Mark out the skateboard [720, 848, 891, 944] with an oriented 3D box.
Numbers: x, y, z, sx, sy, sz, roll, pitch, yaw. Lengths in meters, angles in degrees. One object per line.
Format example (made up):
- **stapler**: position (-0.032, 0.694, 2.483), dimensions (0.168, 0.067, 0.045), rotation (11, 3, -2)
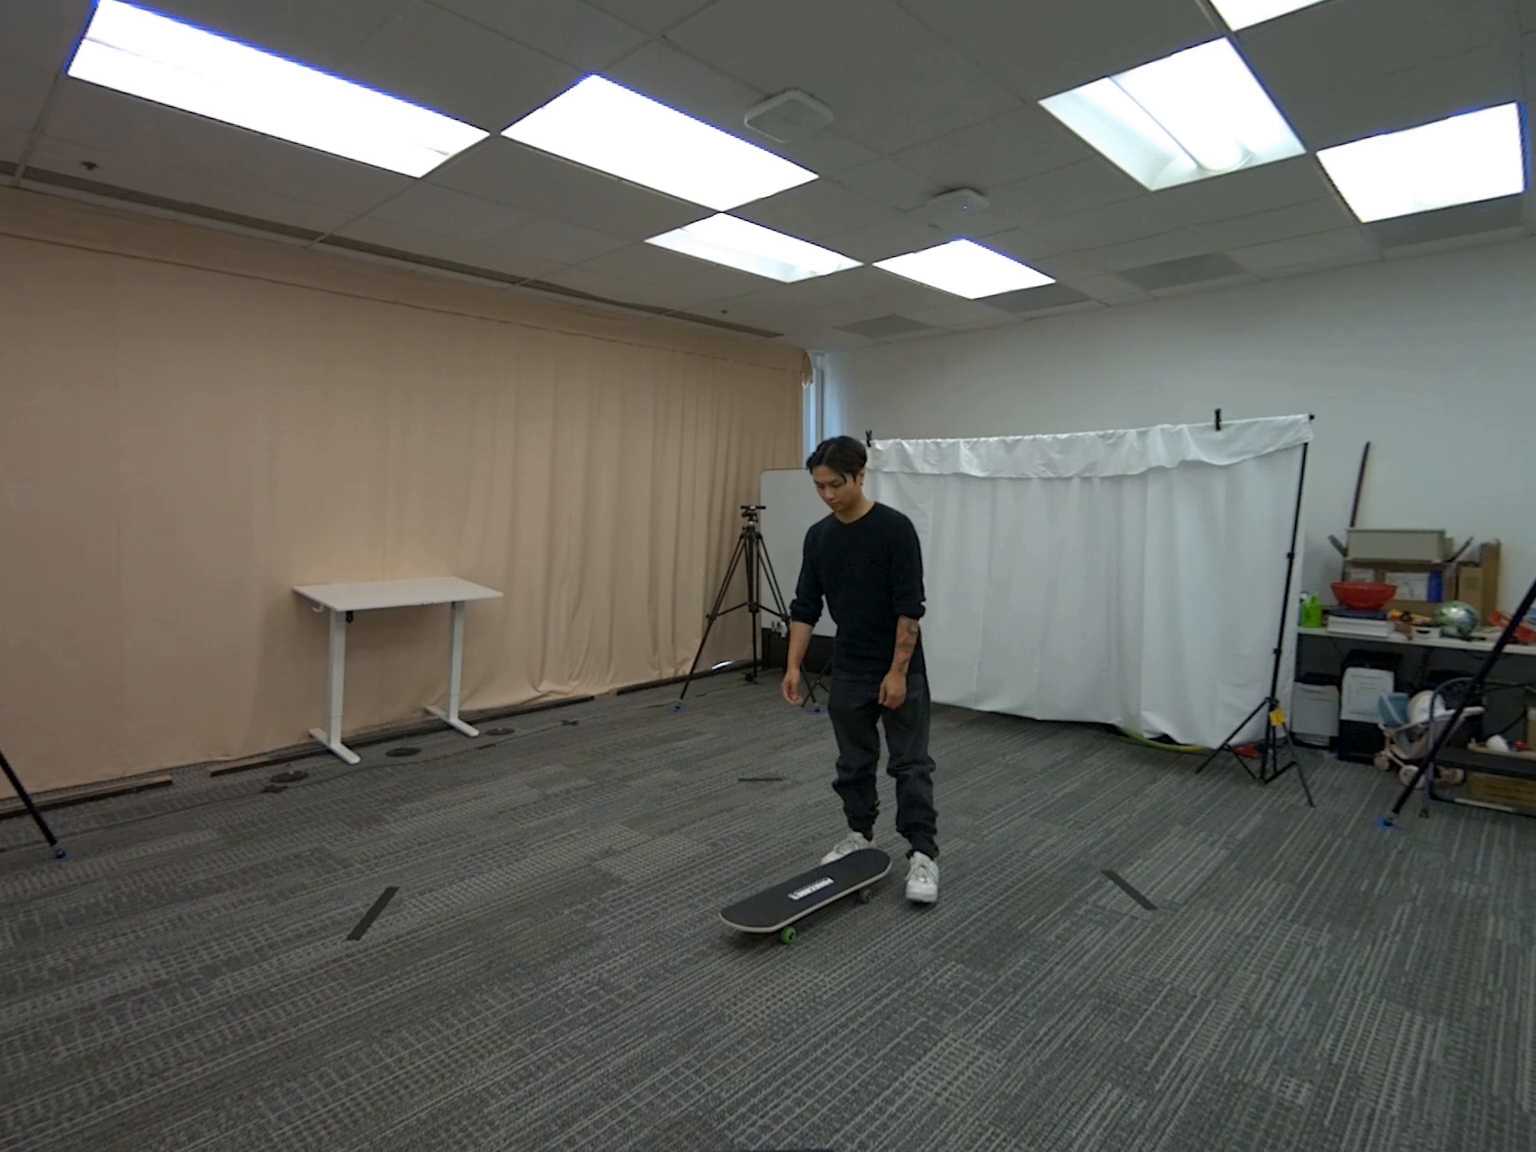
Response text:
- **skateboard**: position (0.146, 1.102, 2.864), dimensions (0.761, 0.110, 0.200), rotation (-4, 5, -44)
